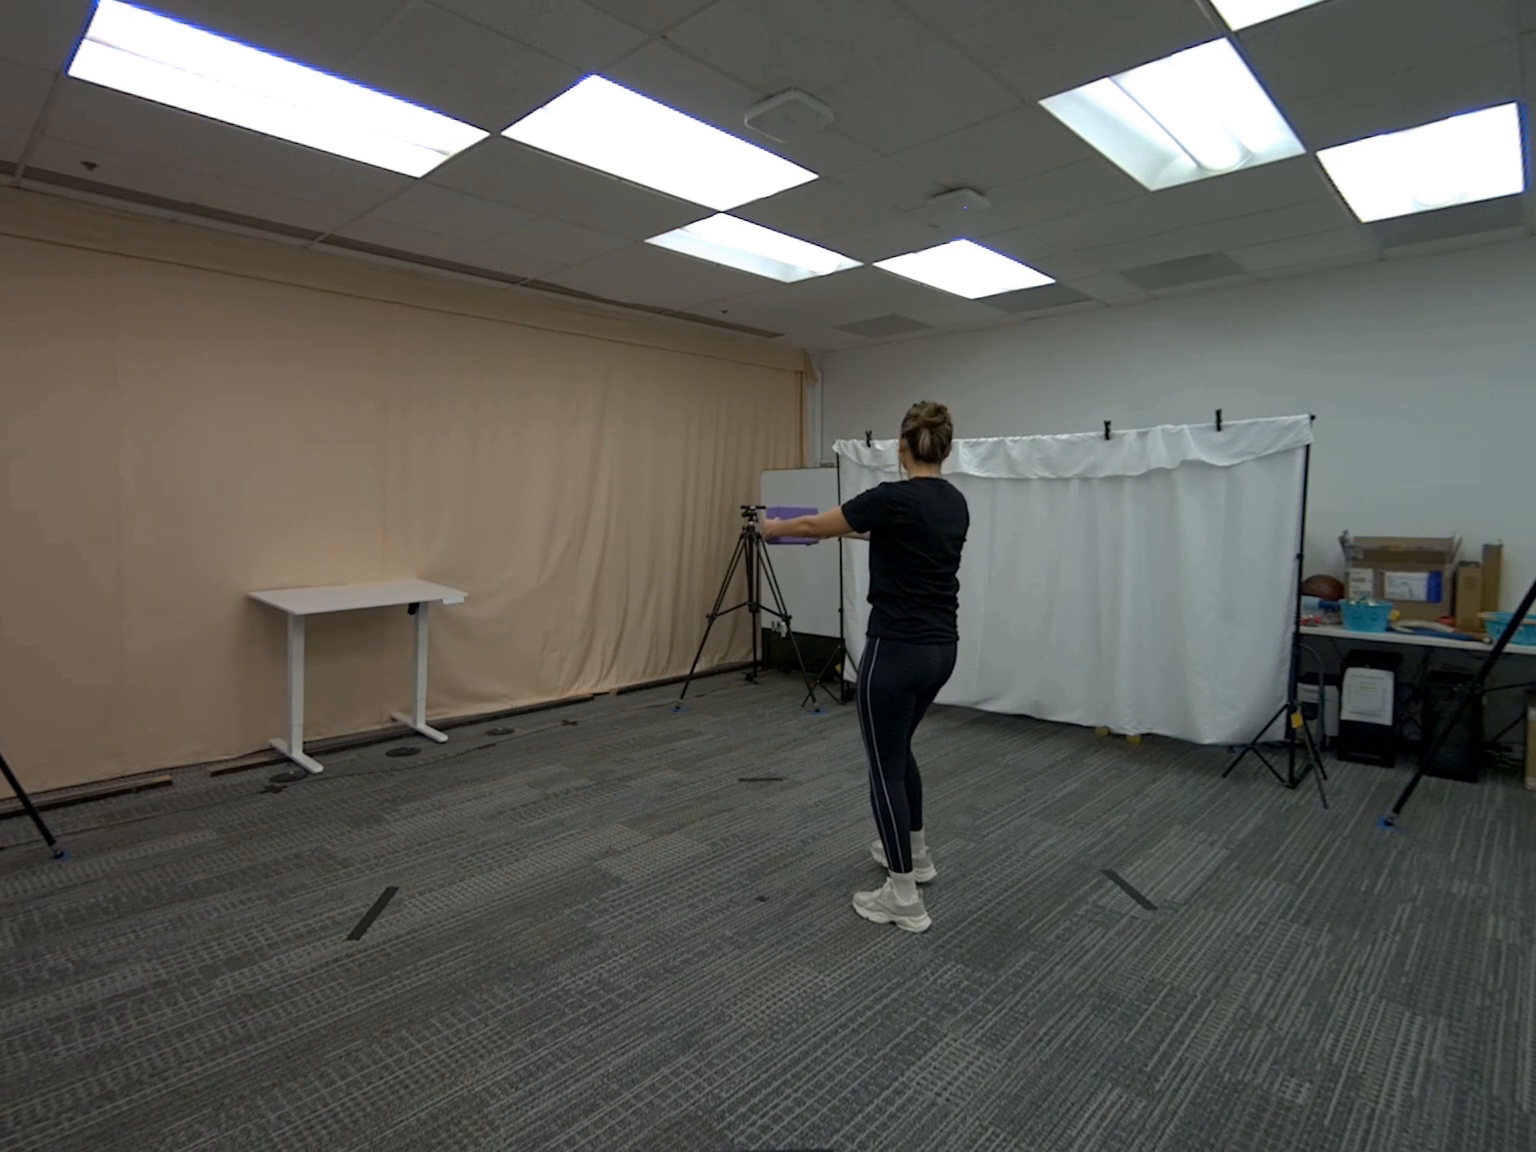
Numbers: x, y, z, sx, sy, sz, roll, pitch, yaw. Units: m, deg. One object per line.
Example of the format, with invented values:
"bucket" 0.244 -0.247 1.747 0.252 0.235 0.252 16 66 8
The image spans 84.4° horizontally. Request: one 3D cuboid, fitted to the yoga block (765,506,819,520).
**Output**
"yoga block" 0.110 -0.201 3.277 0.222 0.149 0.079 -2 -1 -38
